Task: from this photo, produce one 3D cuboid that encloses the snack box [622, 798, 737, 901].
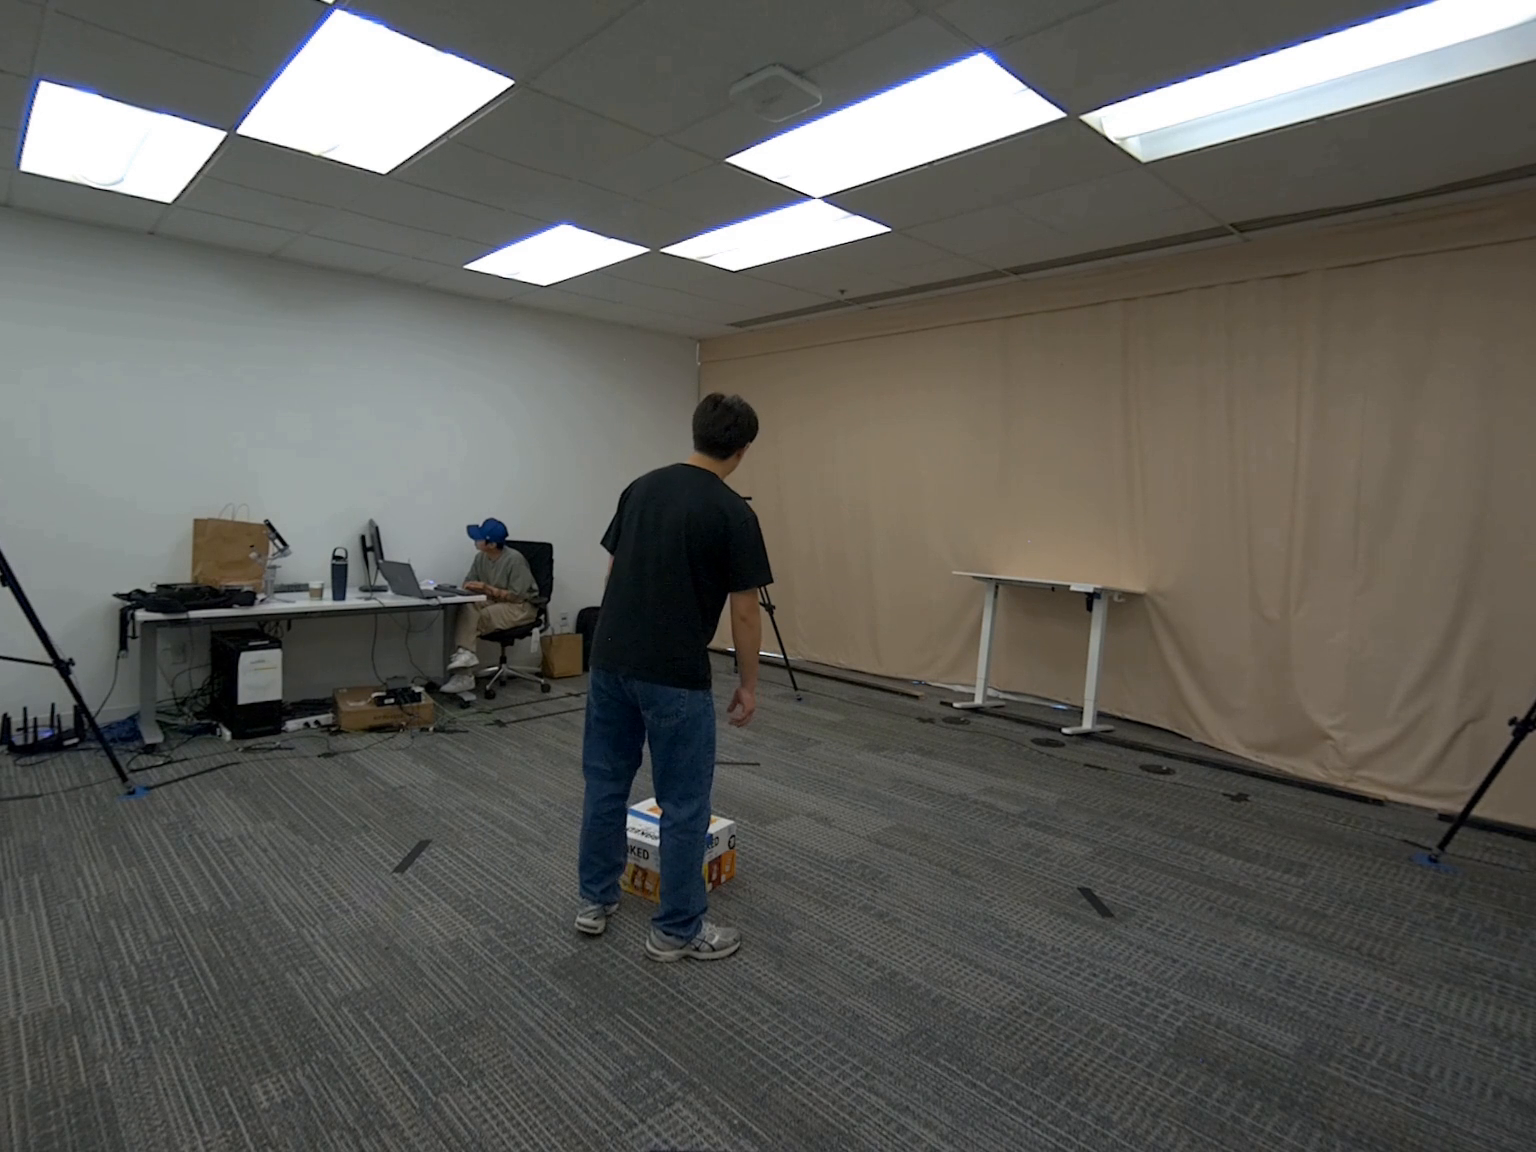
[{"bbox_3d":[-0.386,1.006,3.072,0.415,0.205,0.333,5,6,33],"label":"snack box"}]
